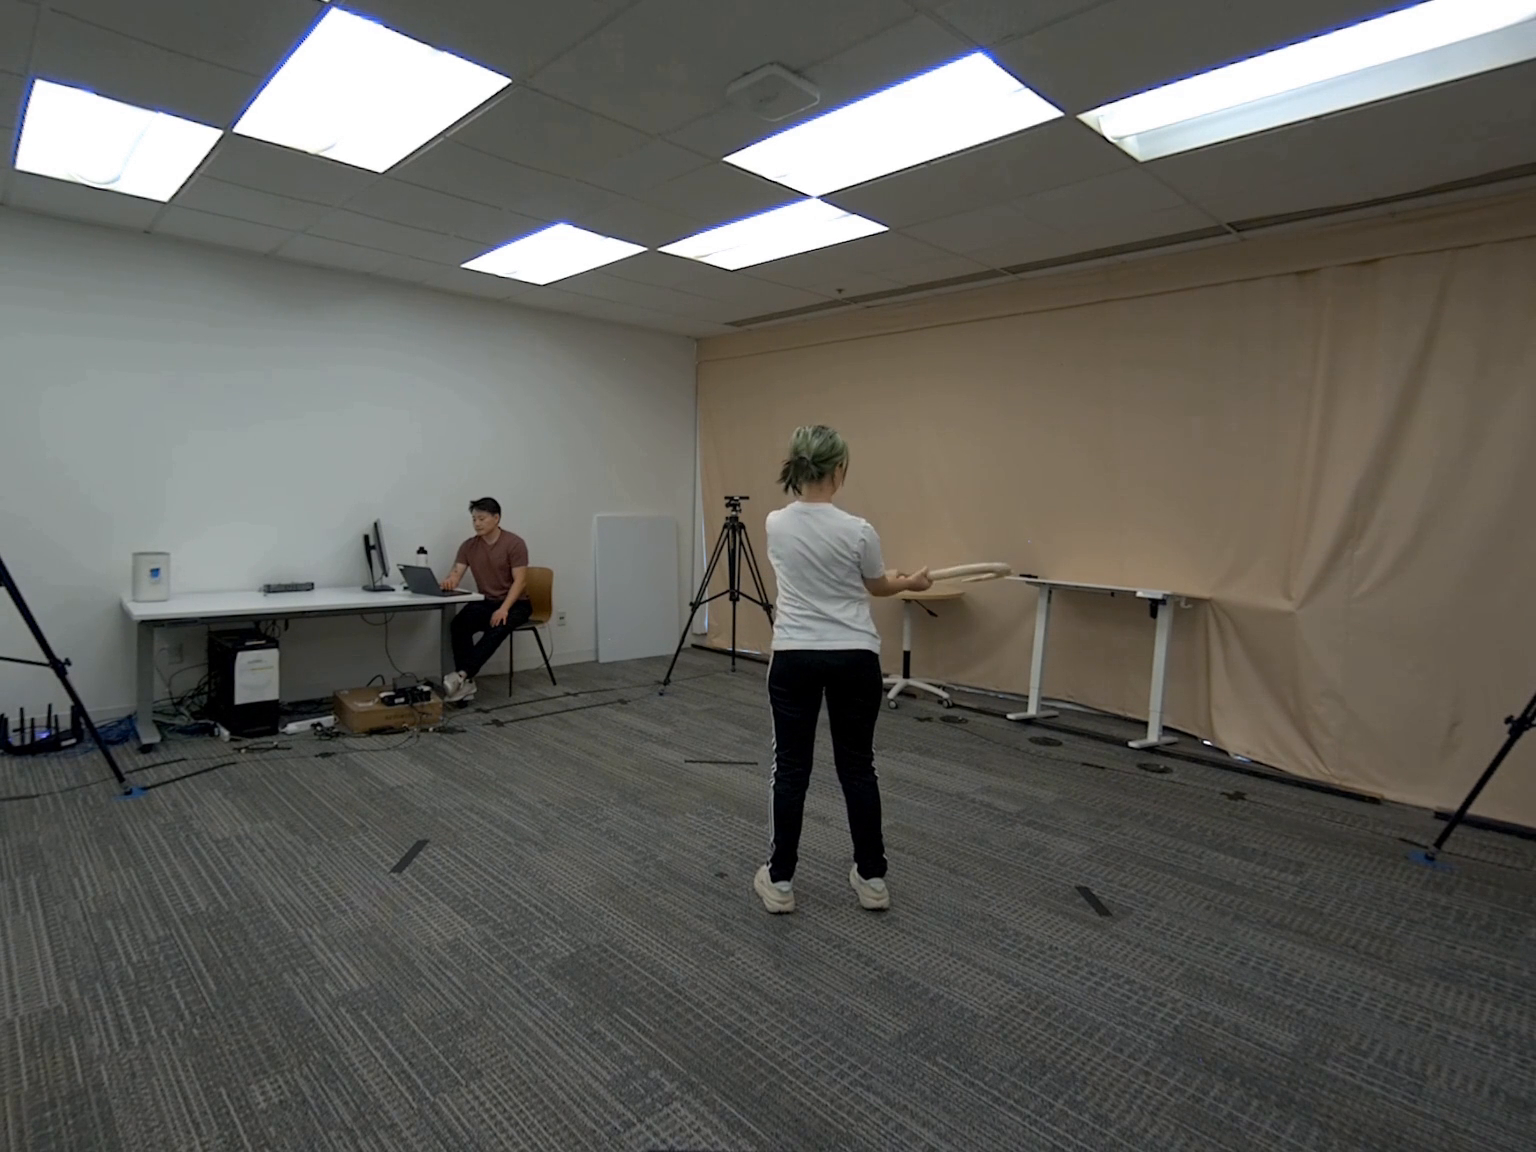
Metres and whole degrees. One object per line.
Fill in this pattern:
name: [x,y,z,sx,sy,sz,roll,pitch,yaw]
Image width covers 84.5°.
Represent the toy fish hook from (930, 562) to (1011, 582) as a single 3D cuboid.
toy fish hook: [0.640,0.013,3.236,0.513,0.049,0.218,-8,-21,19]
